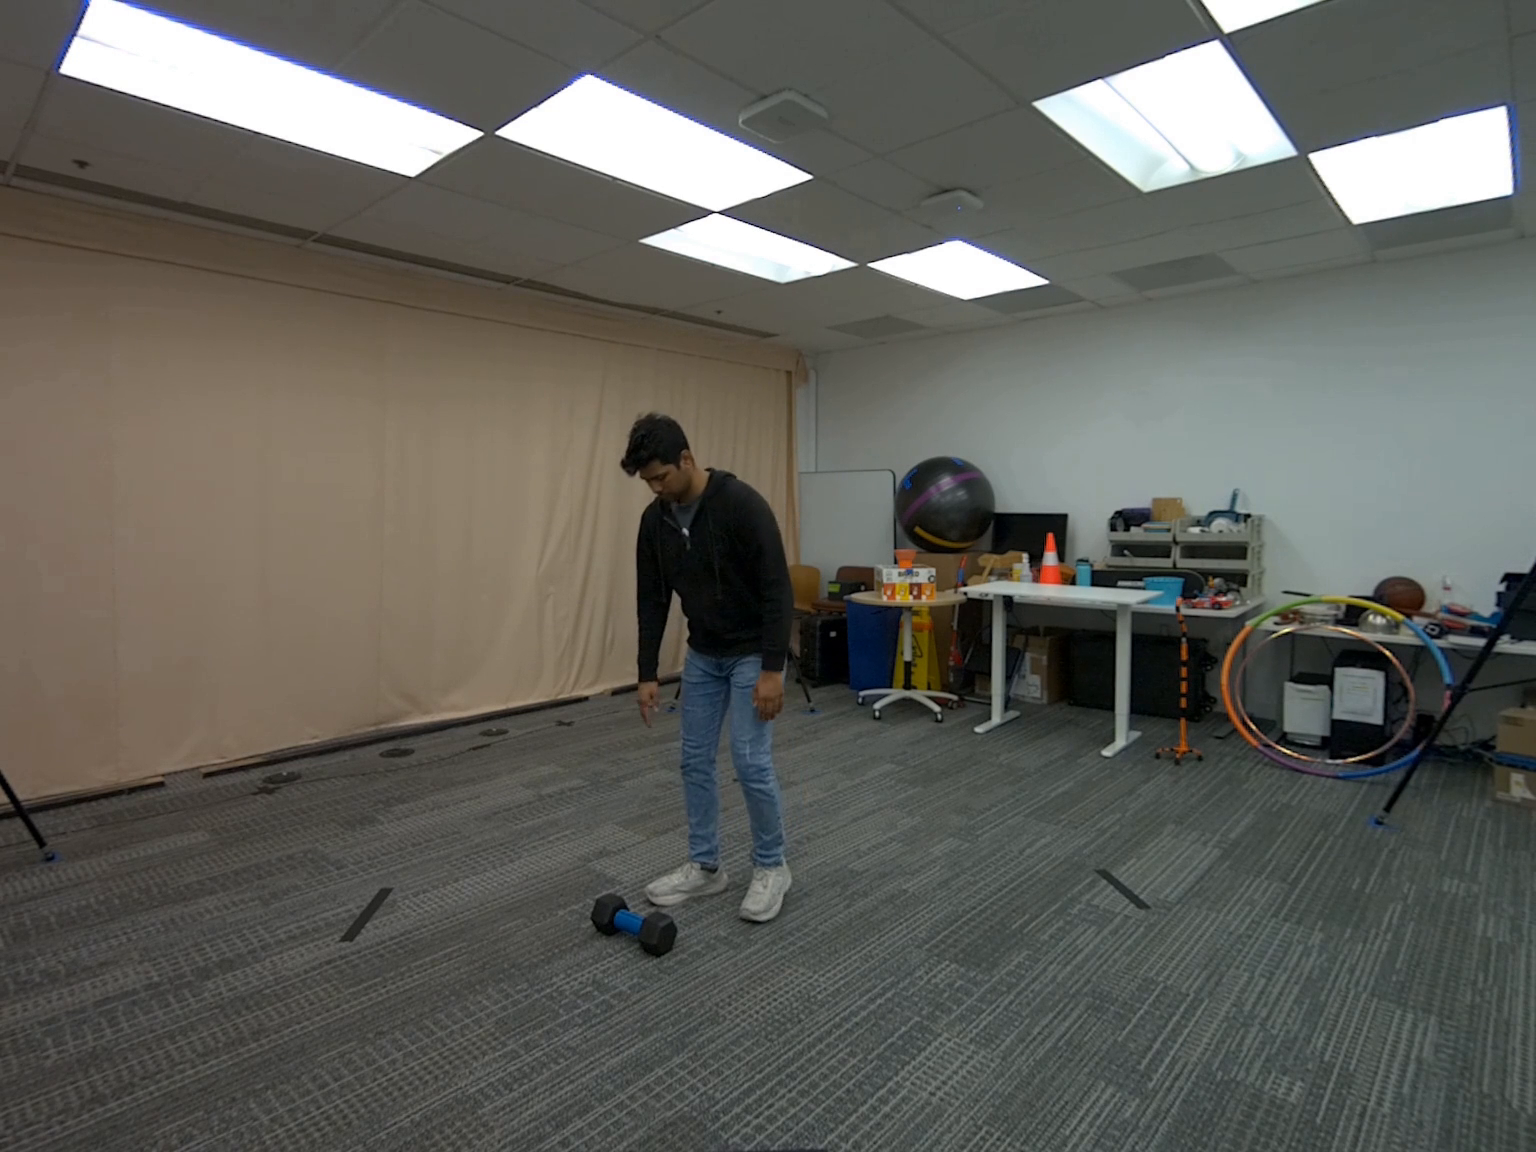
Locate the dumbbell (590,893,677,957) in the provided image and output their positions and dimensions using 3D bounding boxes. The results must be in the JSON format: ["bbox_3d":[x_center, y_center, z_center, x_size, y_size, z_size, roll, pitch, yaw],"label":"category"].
[{"bbox_3d":[-0.433,1.118,2.698,0.303,0.108,0.119,3,3,37],"label":"dumbbell"}]
